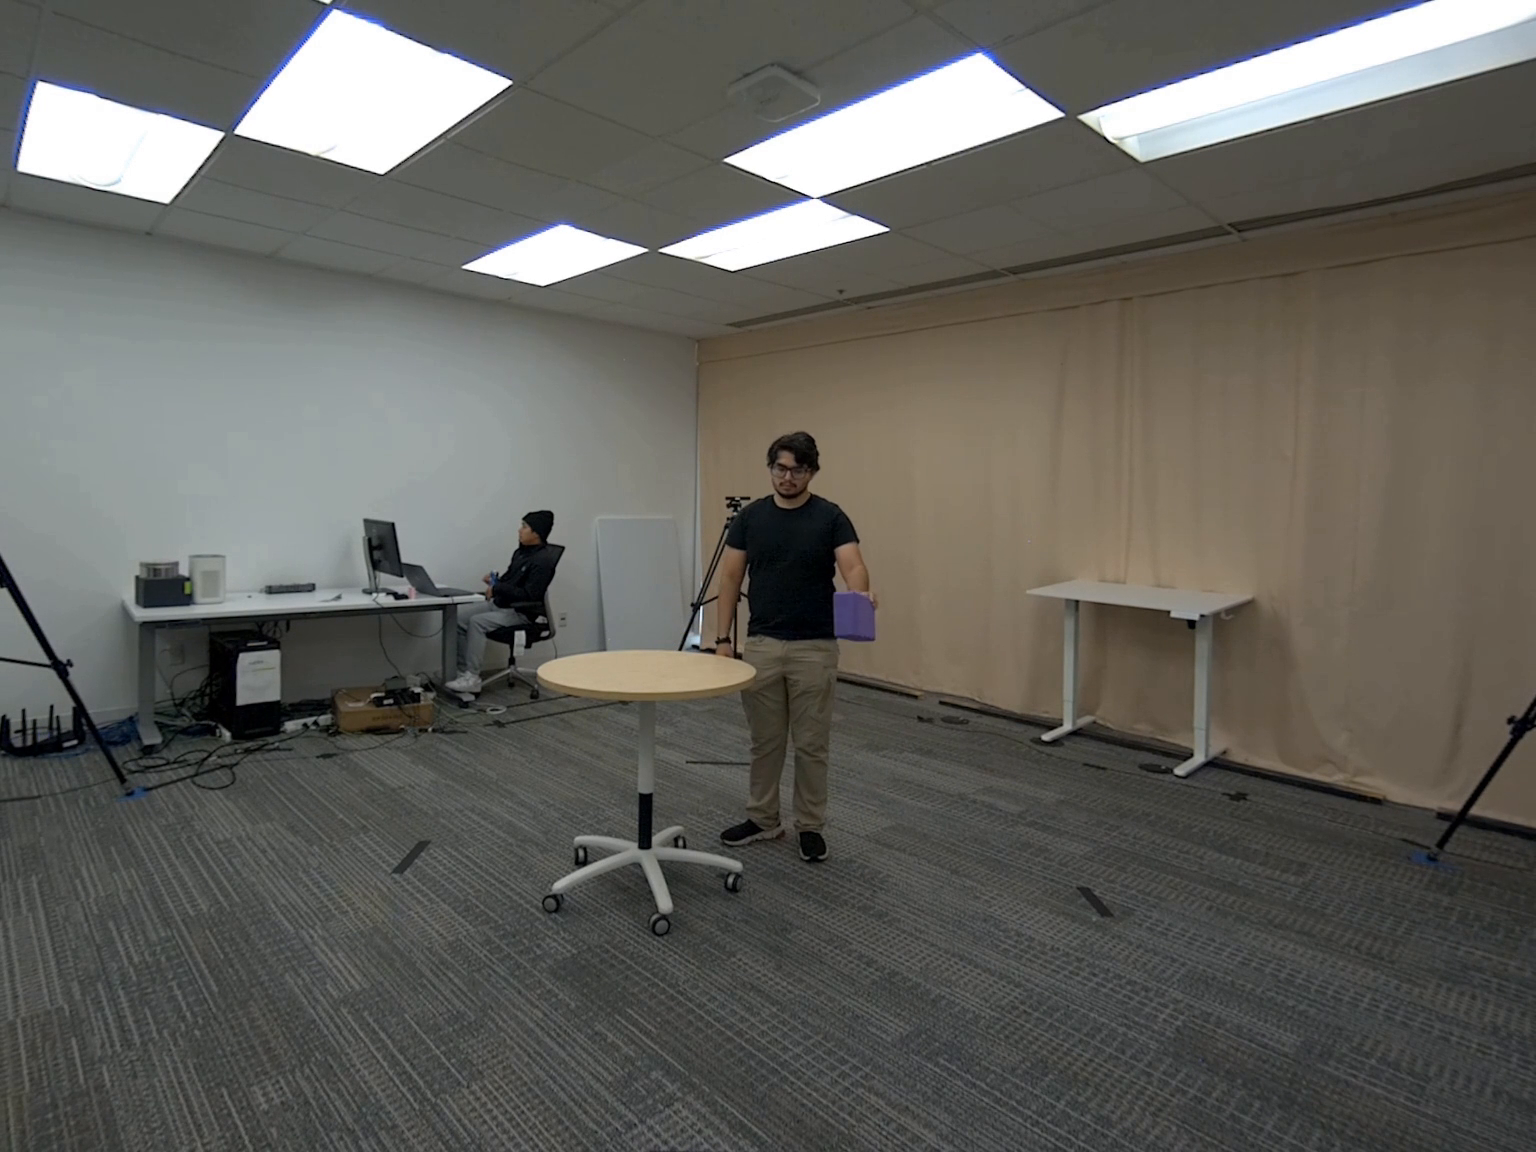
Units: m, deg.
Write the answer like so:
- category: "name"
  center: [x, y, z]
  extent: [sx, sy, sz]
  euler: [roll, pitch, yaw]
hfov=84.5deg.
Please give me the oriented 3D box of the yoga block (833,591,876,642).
- category: "yoga block"
  center: [0.275, 0.139, 2.777]
  extent: [0.077, 0.150, 0.224]
  euler: [-4, -9, 21]
